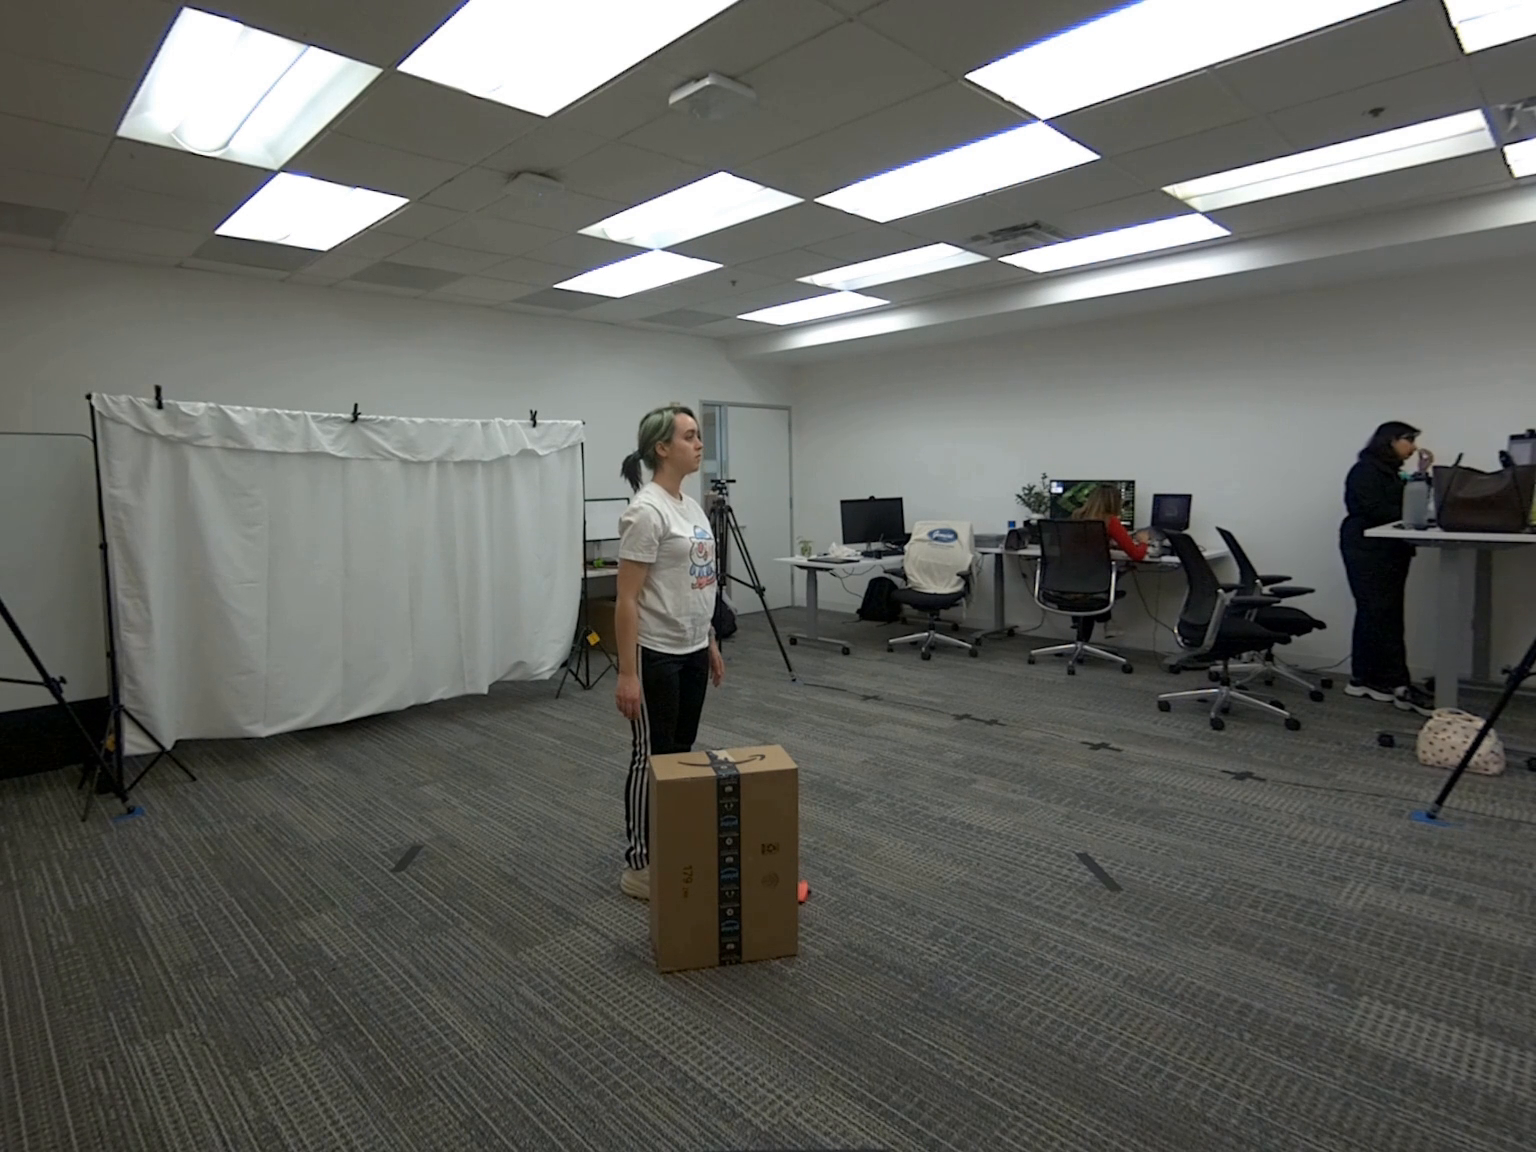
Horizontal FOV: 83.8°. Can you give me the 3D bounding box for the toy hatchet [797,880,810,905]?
[{"bbox_3d":[0.015,1.059,2.848,0.267,0.029,0.133,-4,9,-11],"label":"toy hatchet"}]
